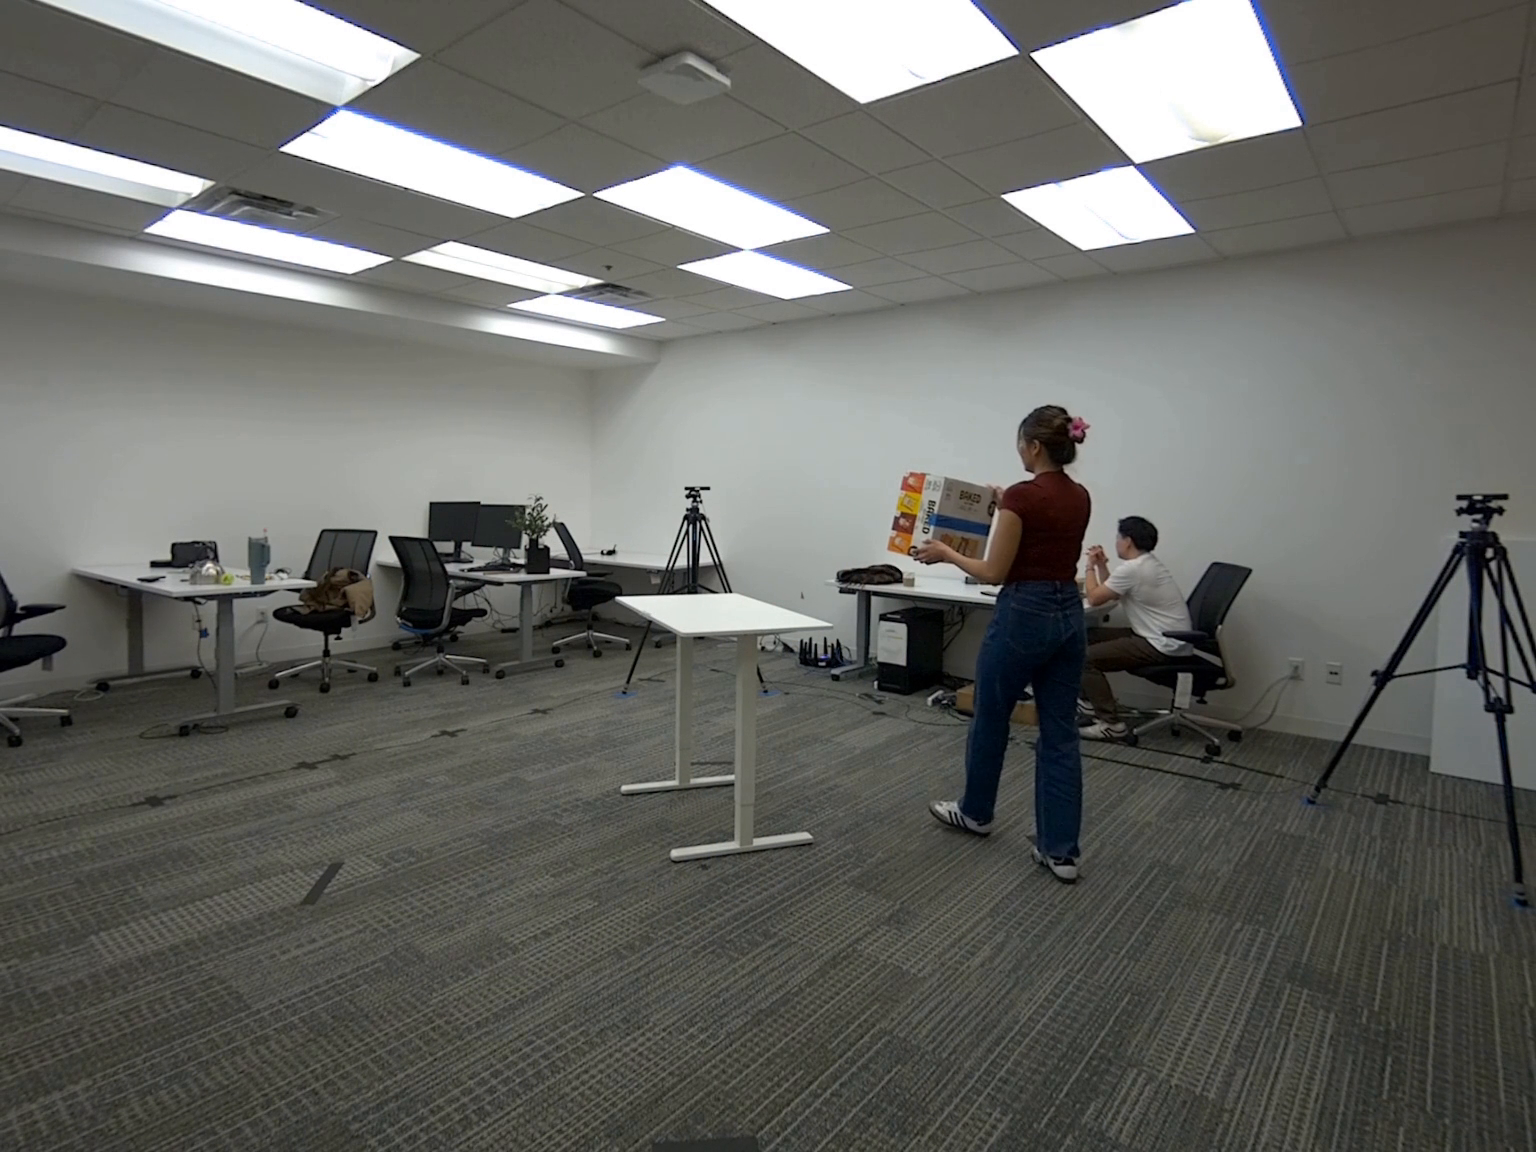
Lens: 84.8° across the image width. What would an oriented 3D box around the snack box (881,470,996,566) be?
[{"bbox_3d":[0.723,-0.238,3.559,0.391,0.339,0.214,7,7,-43],"label":"snack box"}]
